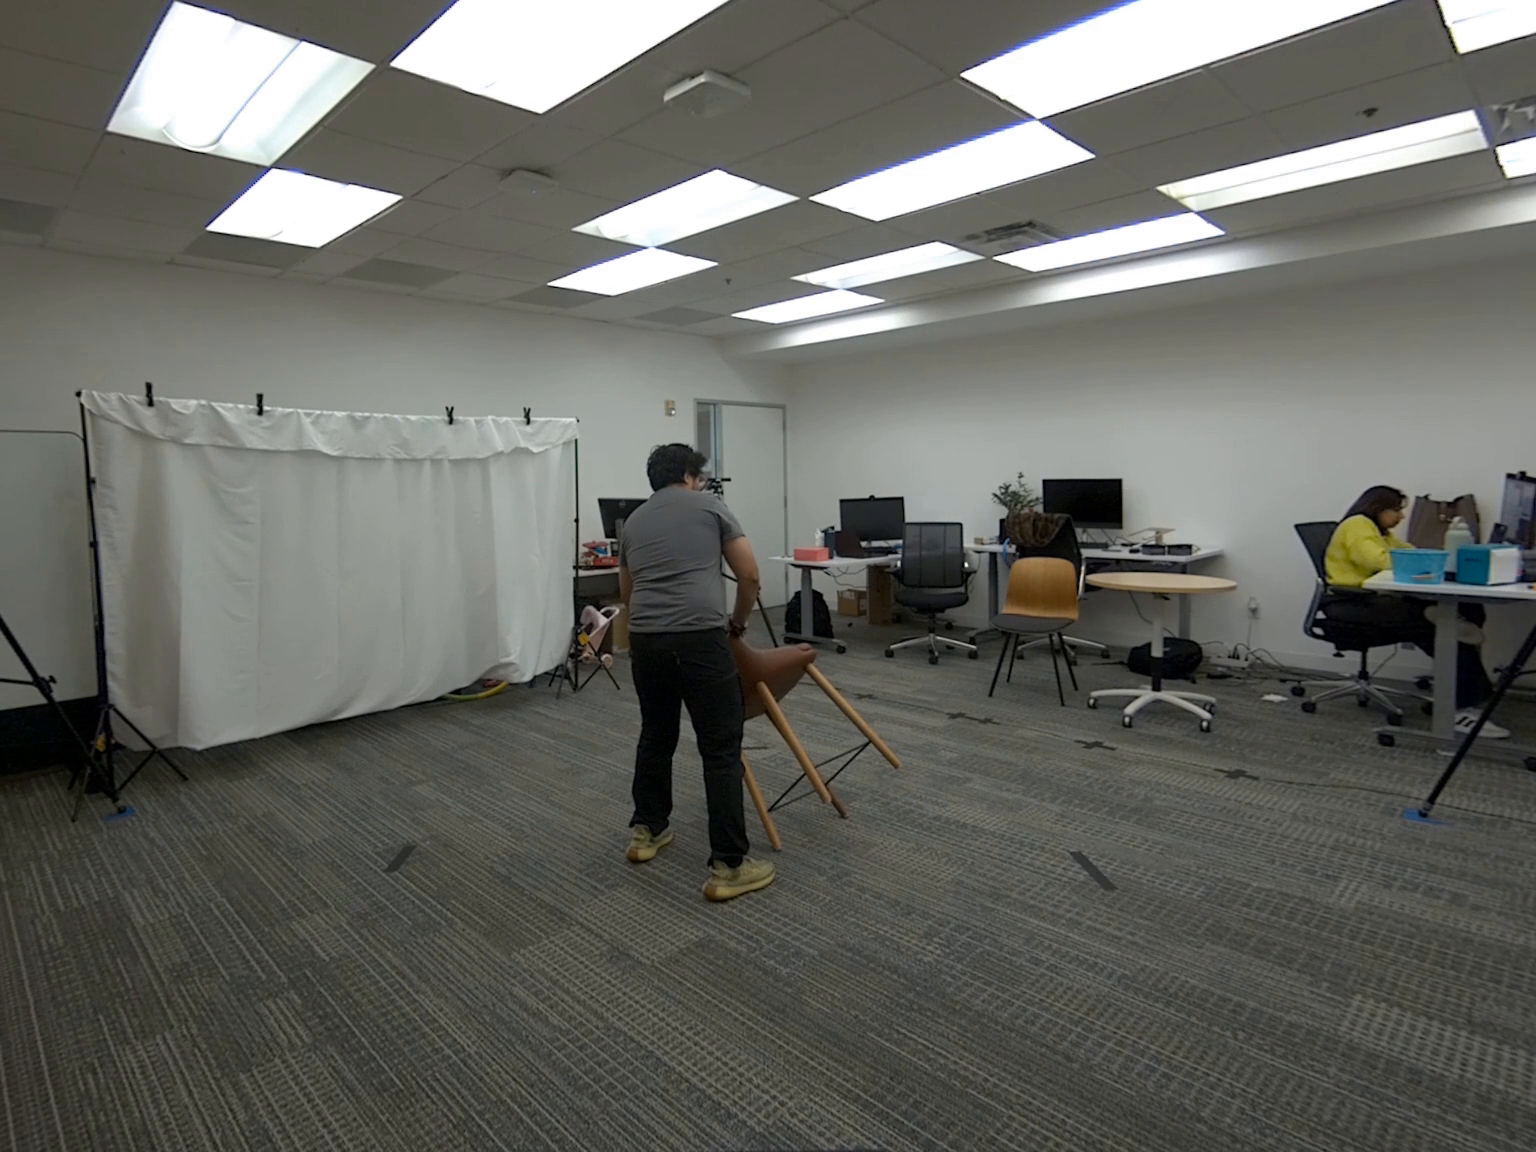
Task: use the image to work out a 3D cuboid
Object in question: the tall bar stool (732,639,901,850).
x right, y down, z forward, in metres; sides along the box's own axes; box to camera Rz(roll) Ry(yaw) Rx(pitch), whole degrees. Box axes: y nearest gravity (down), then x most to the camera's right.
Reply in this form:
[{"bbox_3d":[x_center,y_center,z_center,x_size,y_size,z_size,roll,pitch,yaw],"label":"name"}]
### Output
[{"bbox_3d":[0.031,0.562,3.448,0.456,0.916,0.454,-10,-35,-46],"label":"tall bar stool"}]
